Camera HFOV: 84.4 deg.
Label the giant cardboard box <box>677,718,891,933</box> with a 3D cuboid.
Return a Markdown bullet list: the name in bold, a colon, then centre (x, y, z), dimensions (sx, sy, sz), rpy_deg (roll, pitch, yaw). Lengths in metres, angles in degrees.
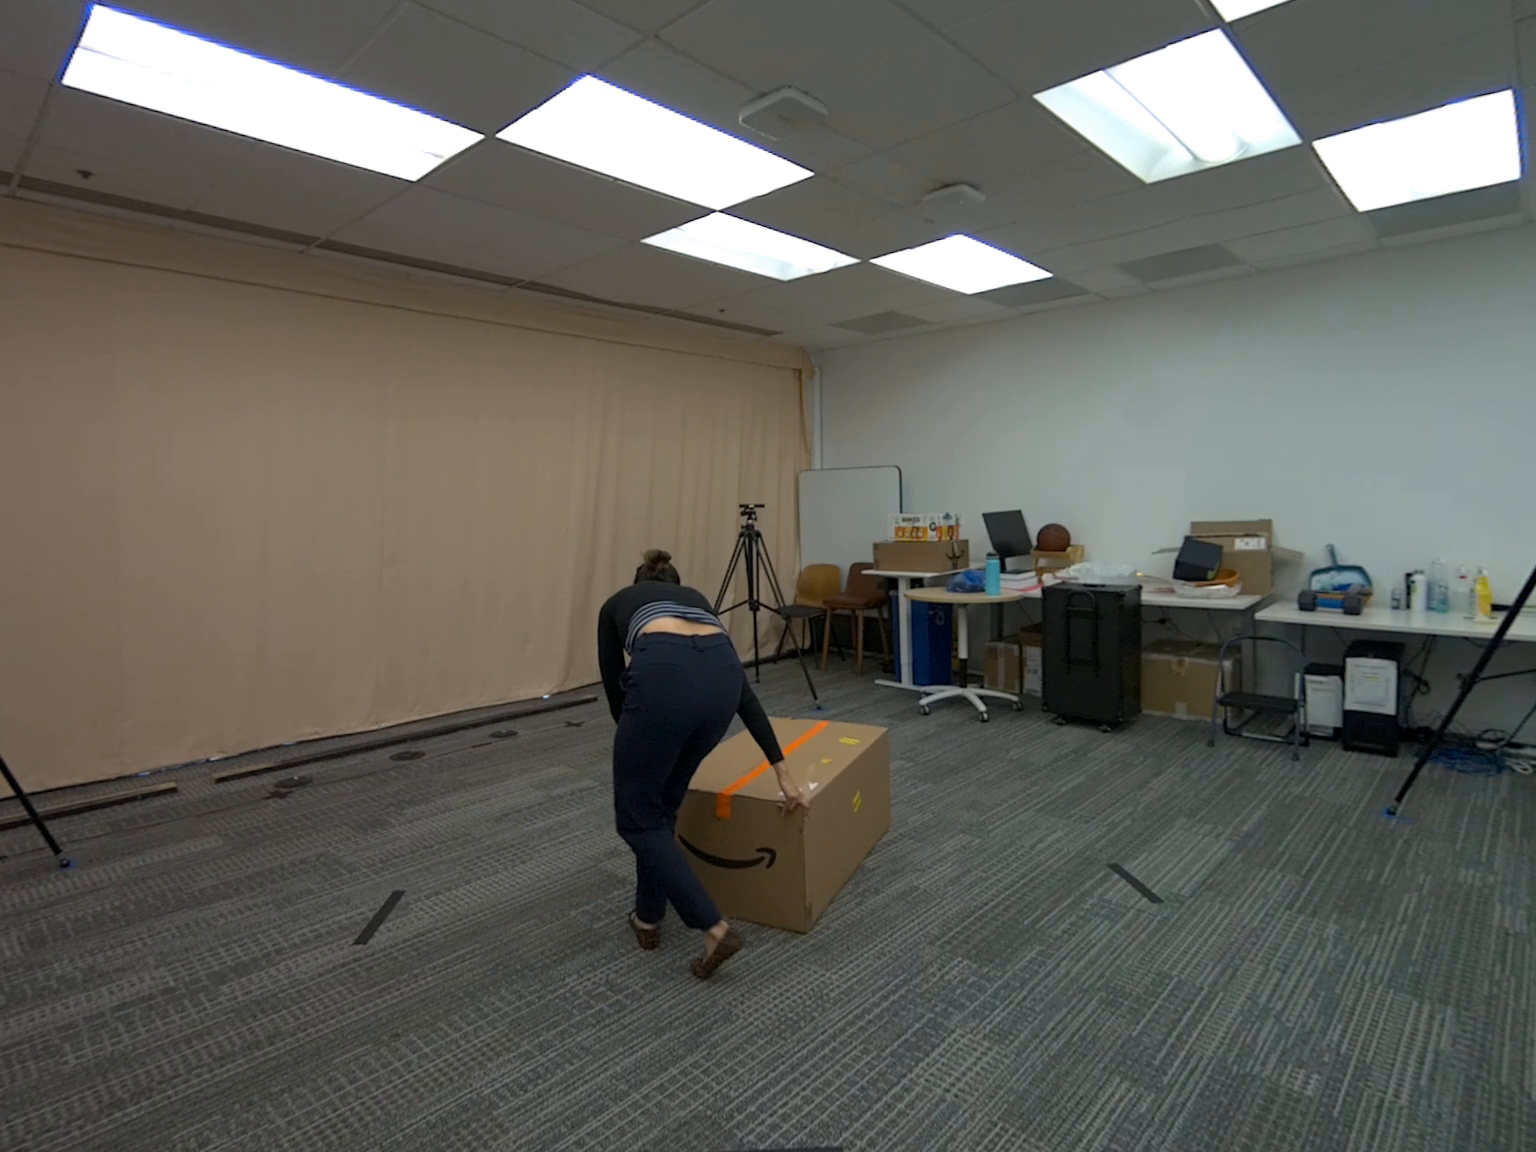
- **giant cardboard box**: centre (0.063, 0.897, 3.285), dimensions (0.592, 0.425, 1.003), rpy_deg (1, 5, 25)
